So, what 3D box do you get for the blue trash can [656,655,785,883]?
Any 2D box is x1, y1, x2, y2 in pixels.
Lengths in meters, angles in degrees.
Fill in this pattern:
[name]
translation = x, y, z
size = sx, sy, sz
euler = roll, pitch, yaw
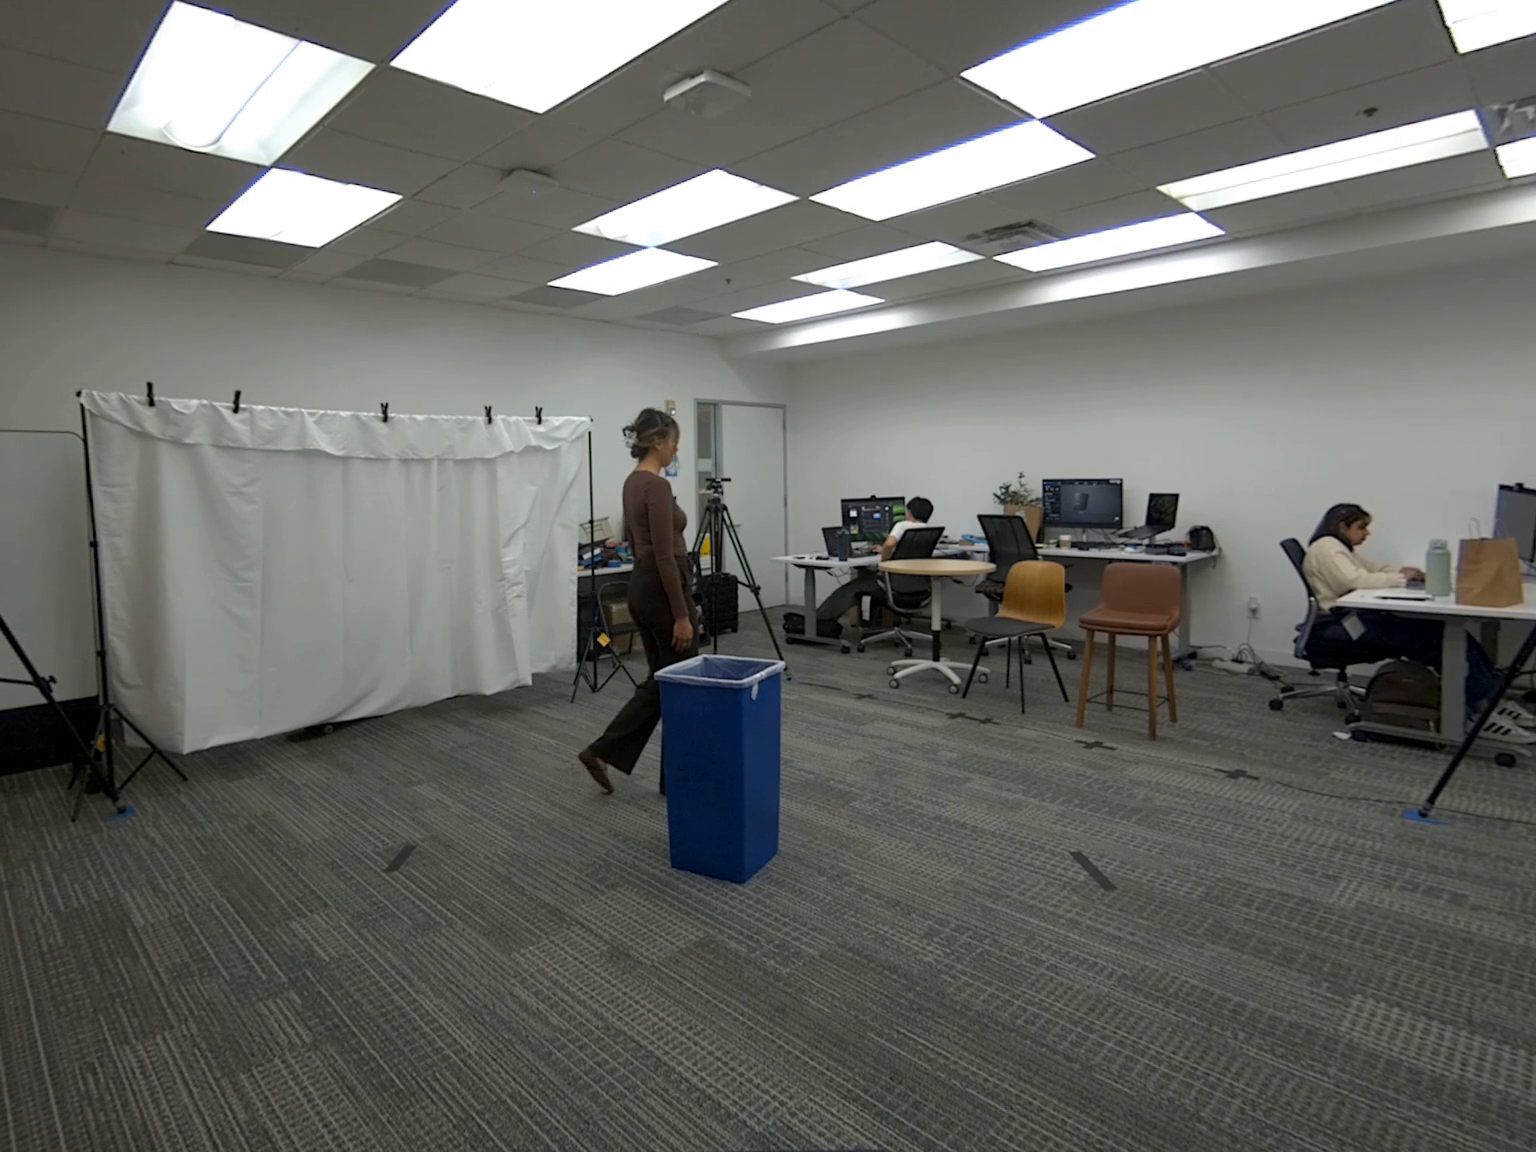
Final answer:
[blue trash can]
translation = -0.157, 0.685, 3.113
size = 0.387, 0.712, 0.366
euler = 1, 3, 26
